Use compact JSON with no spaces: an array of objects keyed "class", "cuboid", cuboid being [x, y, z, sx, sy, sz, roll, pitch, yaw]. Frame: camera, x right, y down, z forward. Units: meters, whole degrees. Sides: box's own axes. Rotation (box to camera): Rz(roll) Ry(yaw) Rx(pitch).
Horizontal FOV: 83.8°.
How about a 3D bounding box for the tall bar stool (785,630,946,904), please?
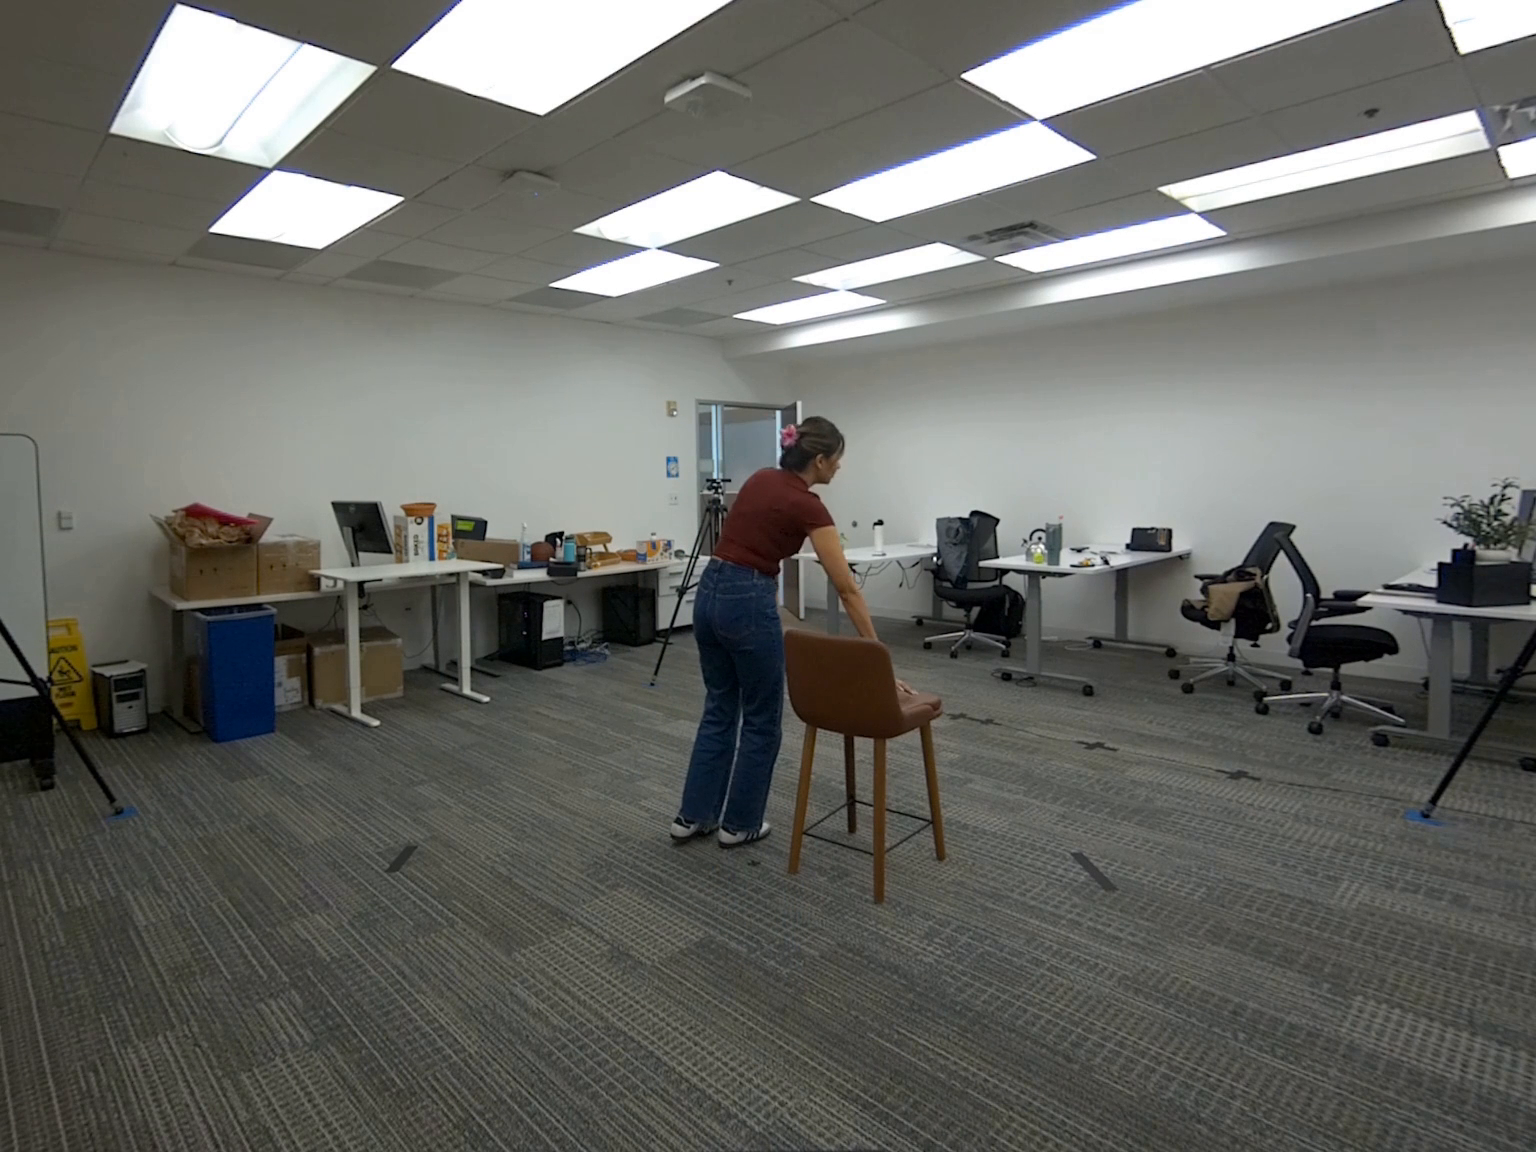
[{"class":"tall bar stool","cuboid":[0.346,0.610,3.048,0.470,0.886,0.456,2,6,40]}]
